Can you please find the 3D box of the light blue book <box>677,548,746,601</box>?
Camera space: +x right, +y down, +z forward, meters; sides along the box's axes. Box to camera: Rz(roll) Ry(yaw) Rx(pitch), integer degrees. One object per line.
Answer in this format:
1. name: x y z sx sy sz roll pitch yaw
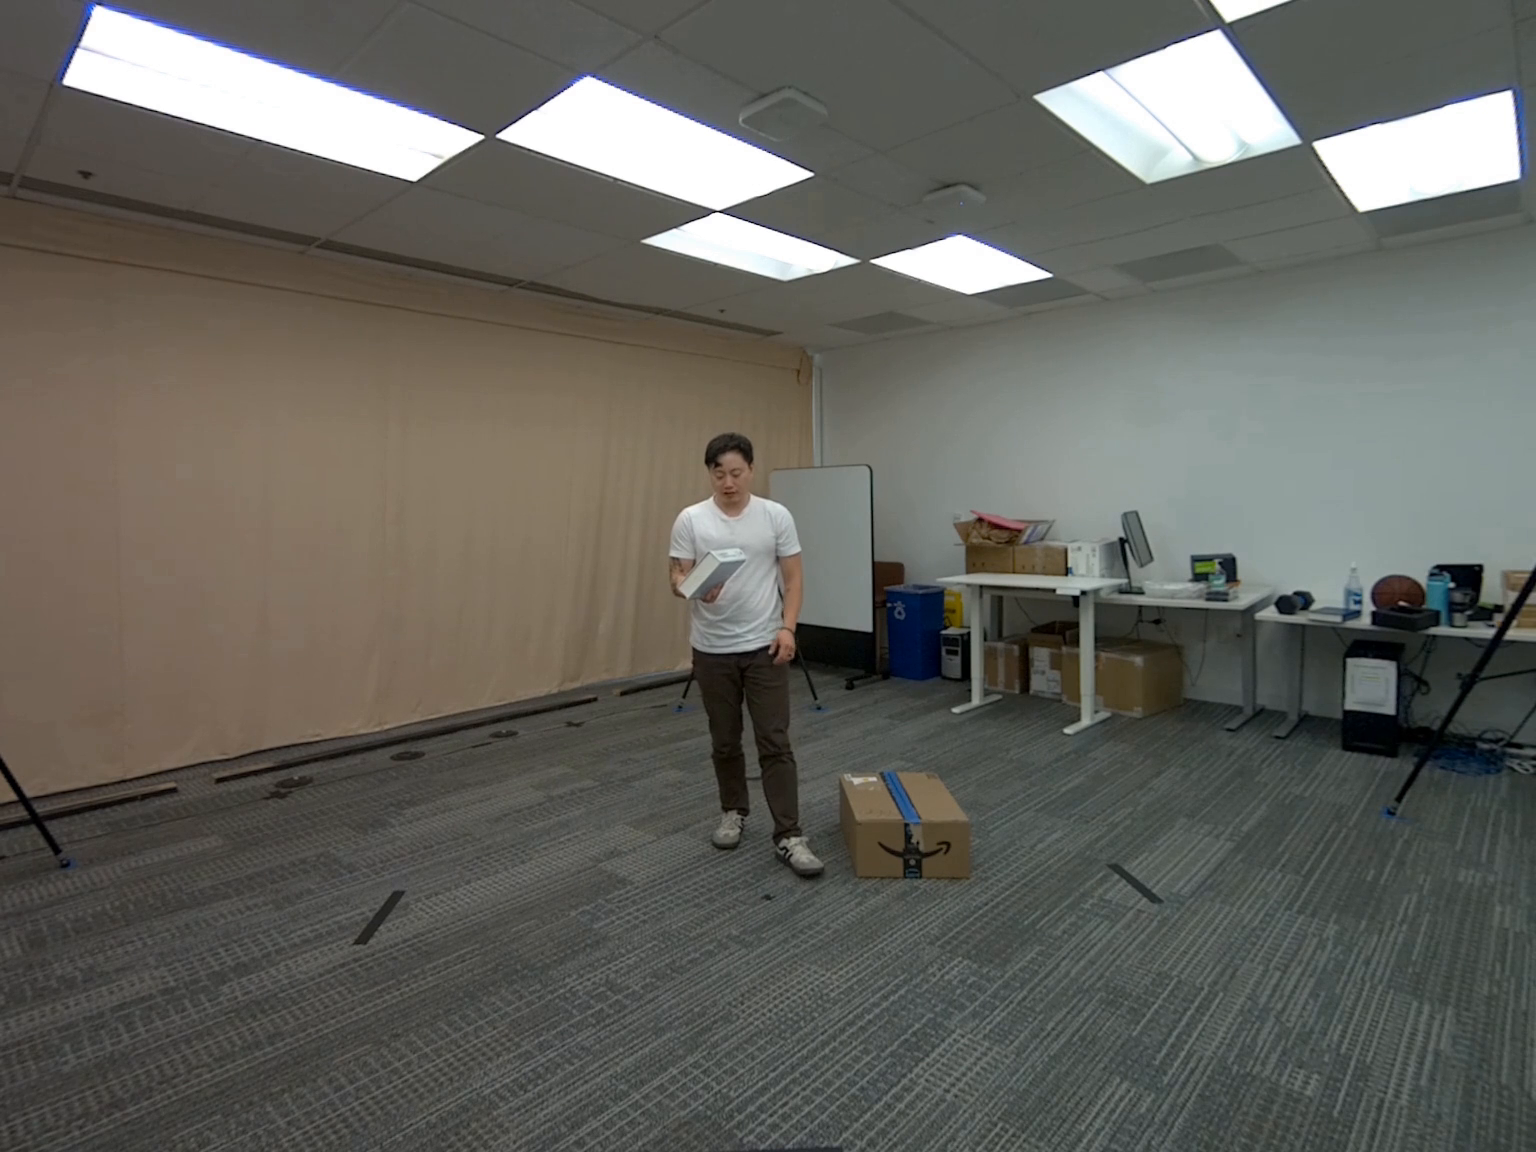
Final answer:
1. light blue book: -0.196 -0.012 3.010 0.192 0.060 0.256 -47 -12 17
